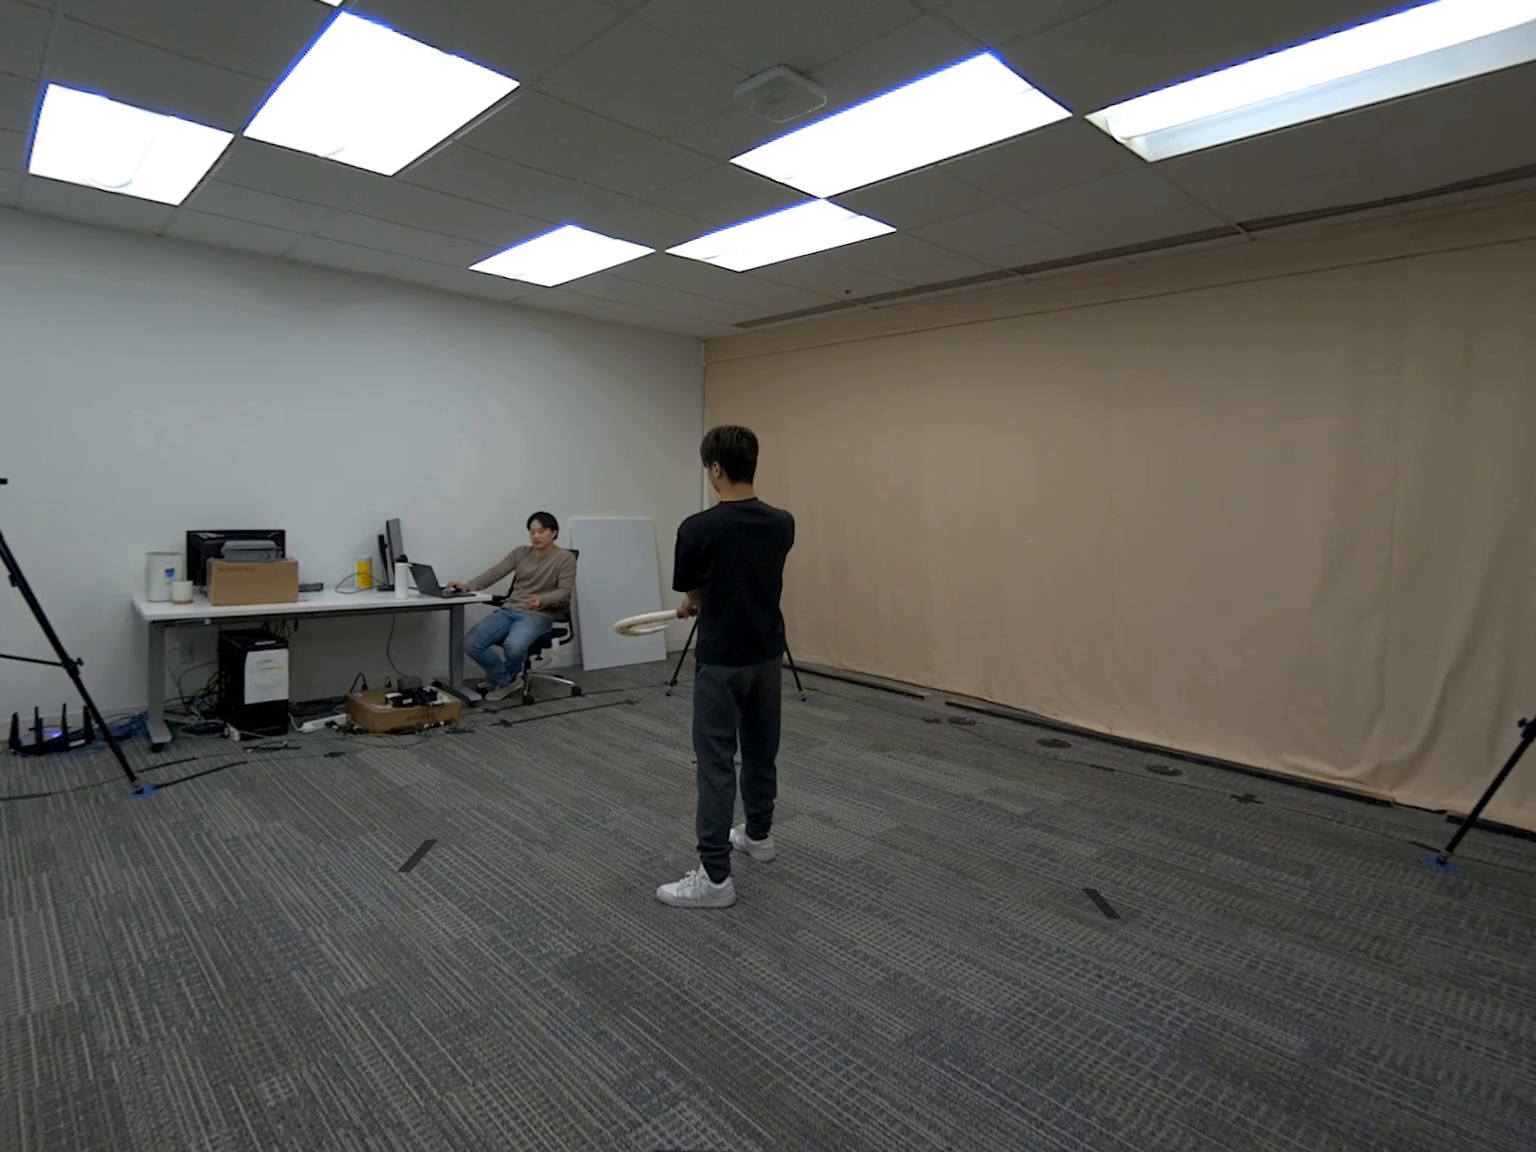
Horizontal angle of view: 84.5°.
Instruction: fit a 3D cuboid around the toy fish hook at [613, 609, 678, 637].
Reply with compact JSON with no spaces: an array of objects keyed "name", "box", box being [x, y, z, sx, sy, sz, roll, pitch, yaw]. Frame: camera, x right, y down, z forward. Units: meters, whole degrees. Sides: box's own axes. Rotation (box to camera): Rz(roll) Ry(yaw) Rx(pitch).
[{"name":"toy fish hook","box":[-0.406,0.184,3.515,0.512,0.049,0.219,-12,-15,18]}]
